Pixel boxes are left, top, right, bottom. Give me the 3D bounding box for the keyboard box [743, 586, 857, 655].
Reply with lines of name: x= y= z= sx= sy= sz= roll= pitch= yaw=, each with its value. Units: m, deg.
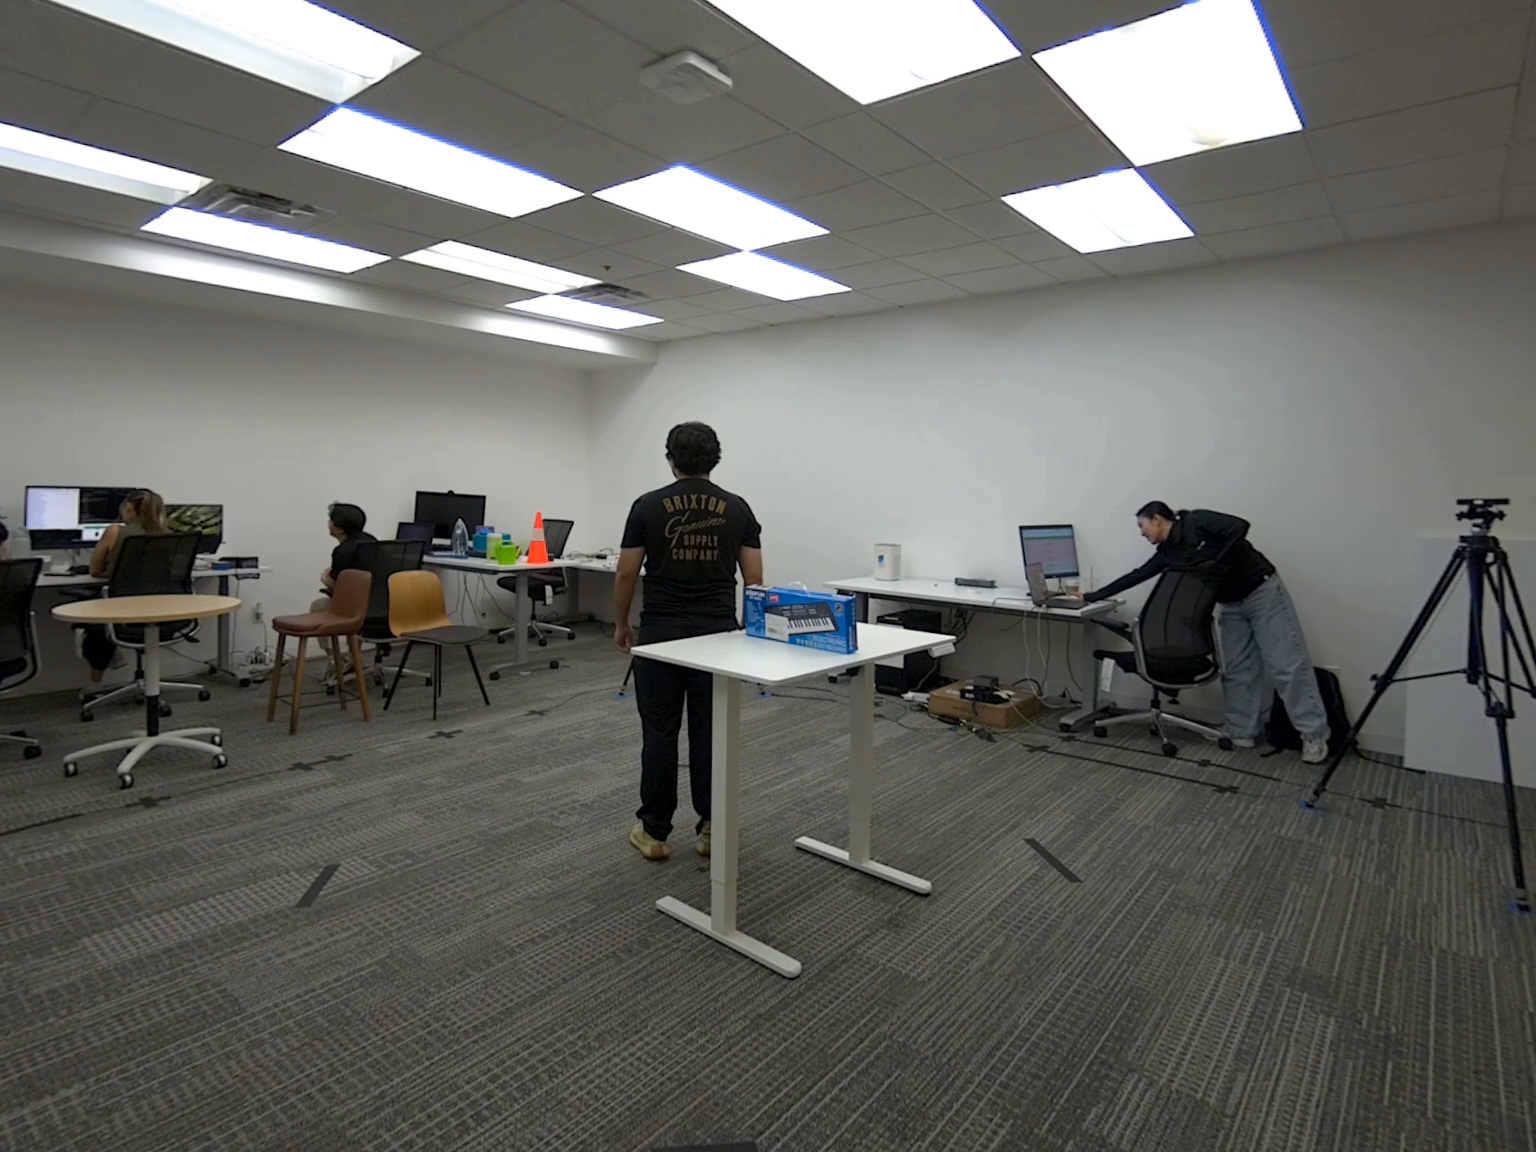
keyboard box: x=0.091 y=0.138 z=2.801 sx=0.452 sy=0.174 sz=0.057 roll=6 pitch=13 yaw=43
